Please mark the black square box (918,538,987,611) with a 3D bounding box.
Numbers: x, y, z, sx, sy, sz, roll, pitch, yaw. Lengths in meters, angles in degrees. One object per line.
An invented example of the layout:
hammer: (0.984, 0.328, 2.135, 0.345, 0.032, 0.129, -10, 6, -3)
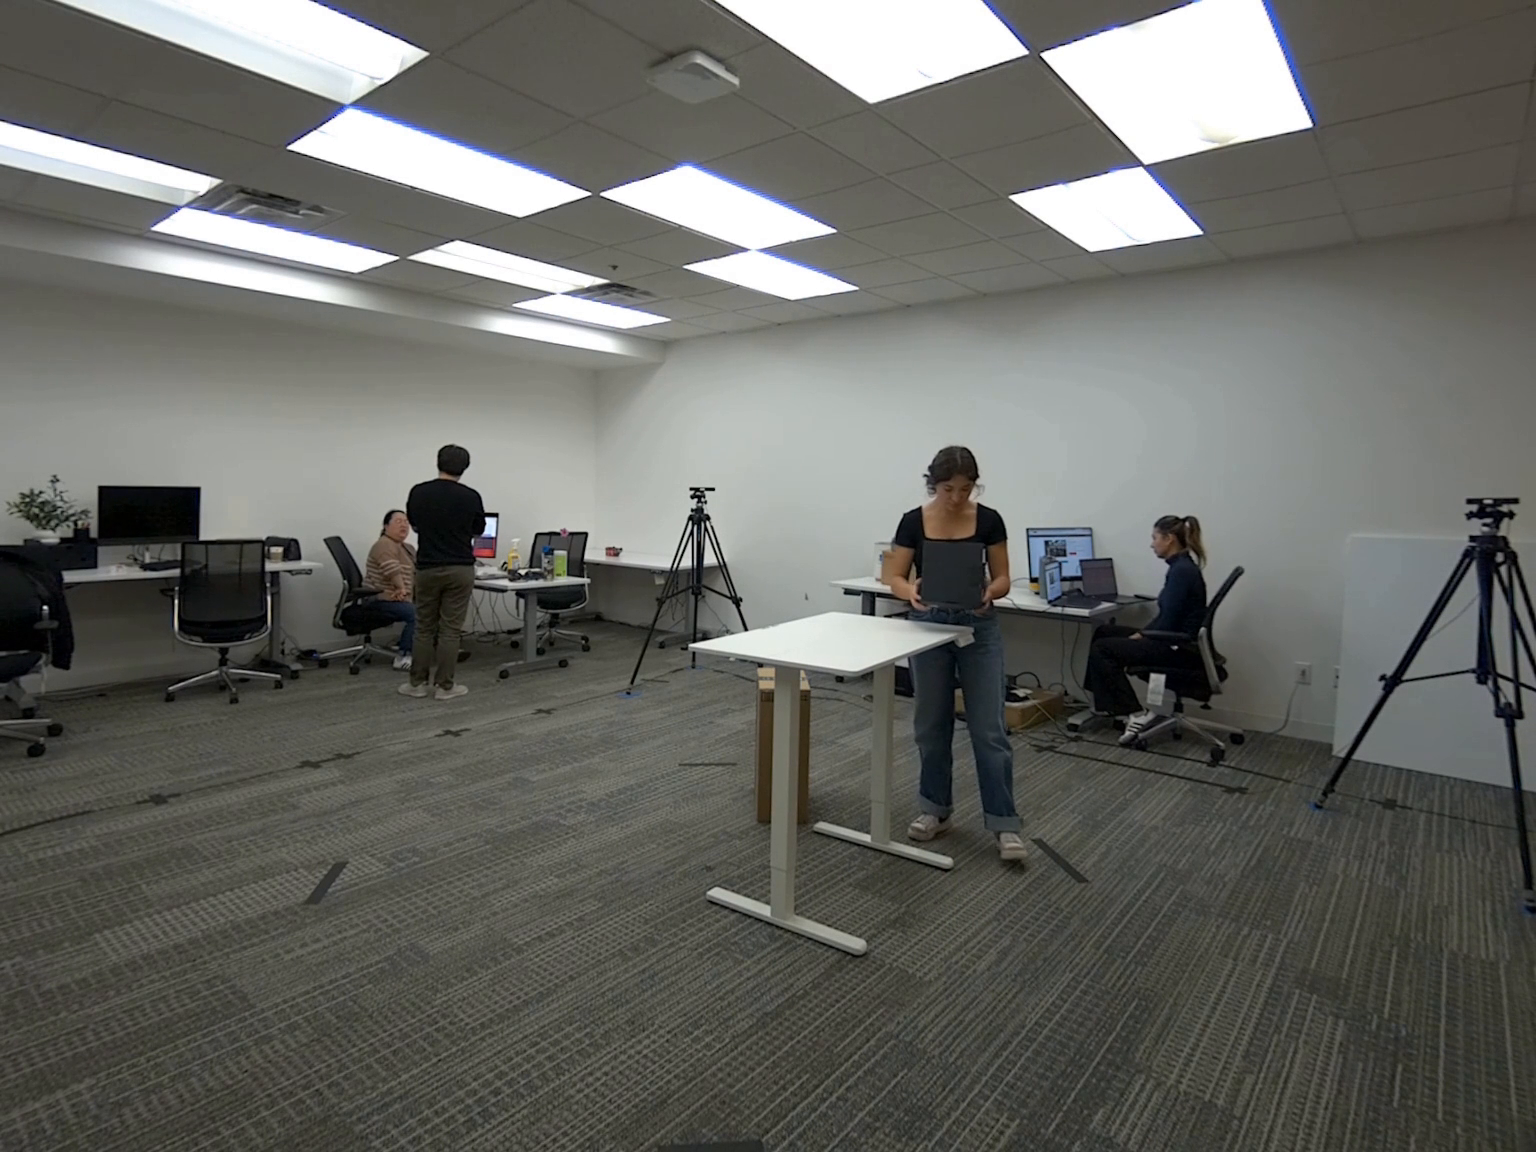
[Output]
black square box: (0.697, -0.008, 3.142, 0.220, 0.229, 0.153, 3, -6, 12)
